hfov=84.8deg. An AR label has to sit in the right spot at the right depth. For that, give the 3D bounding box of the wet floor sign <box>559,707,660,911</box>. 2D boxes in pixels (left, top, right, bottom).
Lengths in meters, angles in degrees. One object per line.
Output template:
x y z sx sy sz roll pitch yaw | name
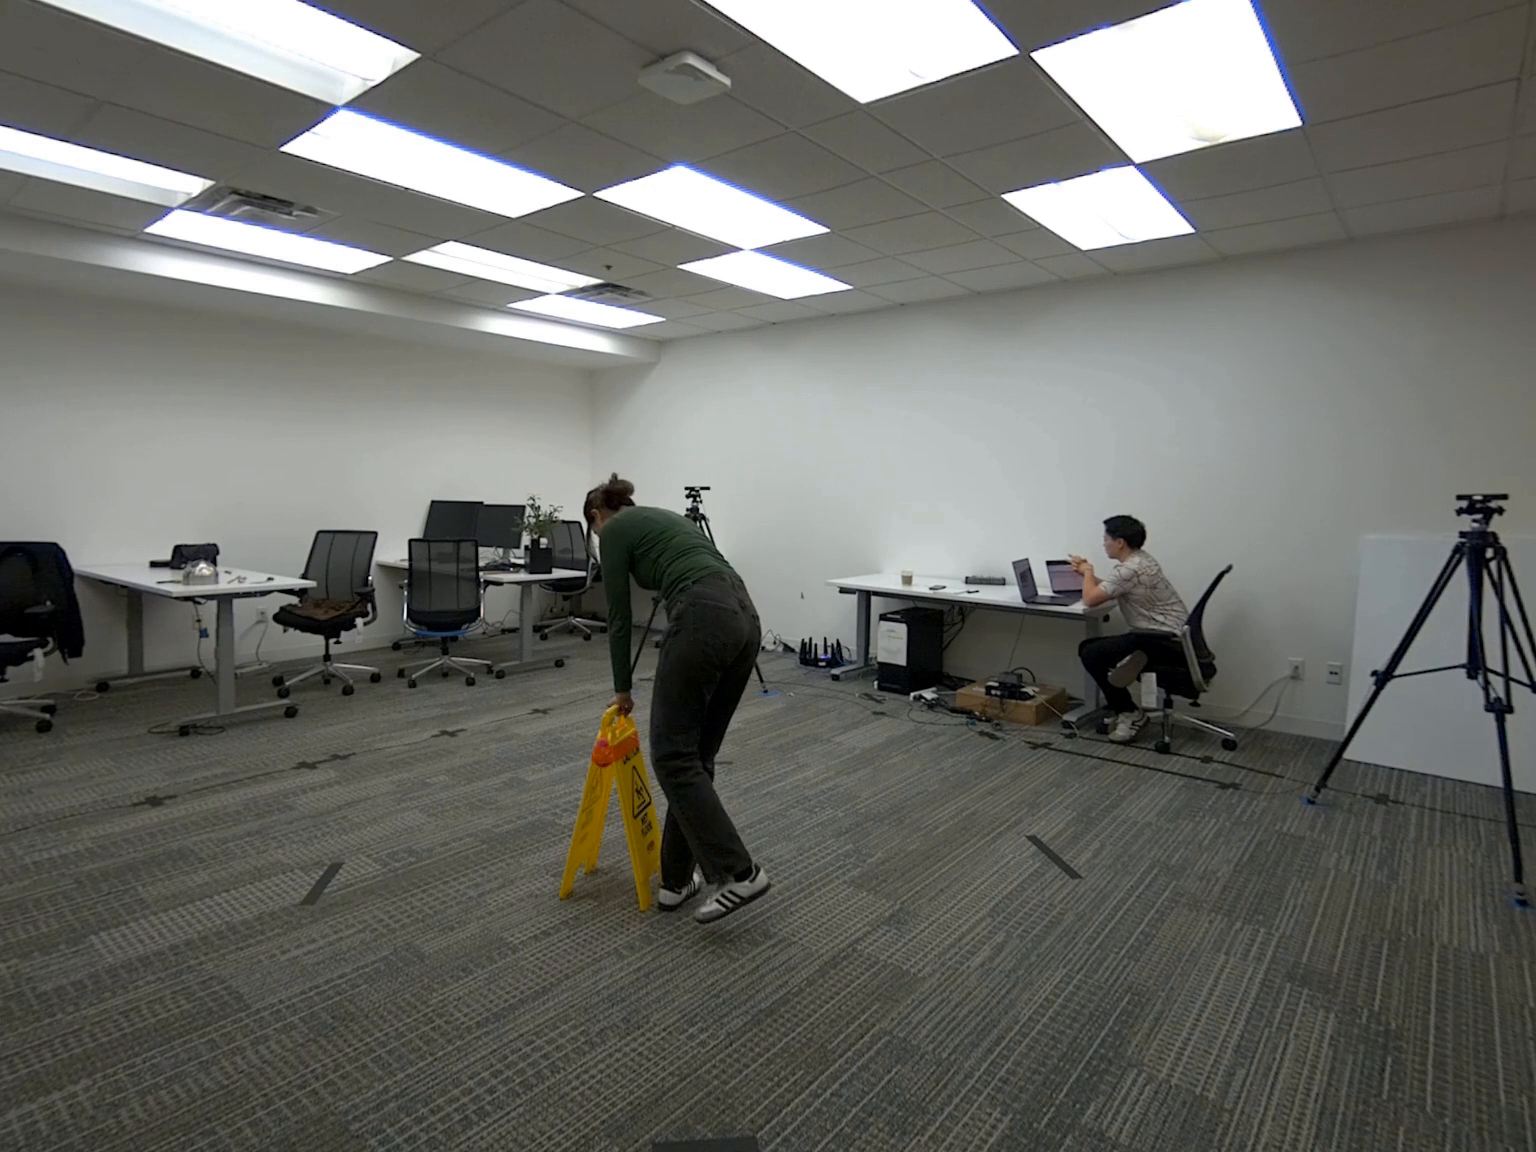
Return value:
-0.531 0.755 2.928 0.294 0.644 0.279 2 4 14 | wet floor sign
